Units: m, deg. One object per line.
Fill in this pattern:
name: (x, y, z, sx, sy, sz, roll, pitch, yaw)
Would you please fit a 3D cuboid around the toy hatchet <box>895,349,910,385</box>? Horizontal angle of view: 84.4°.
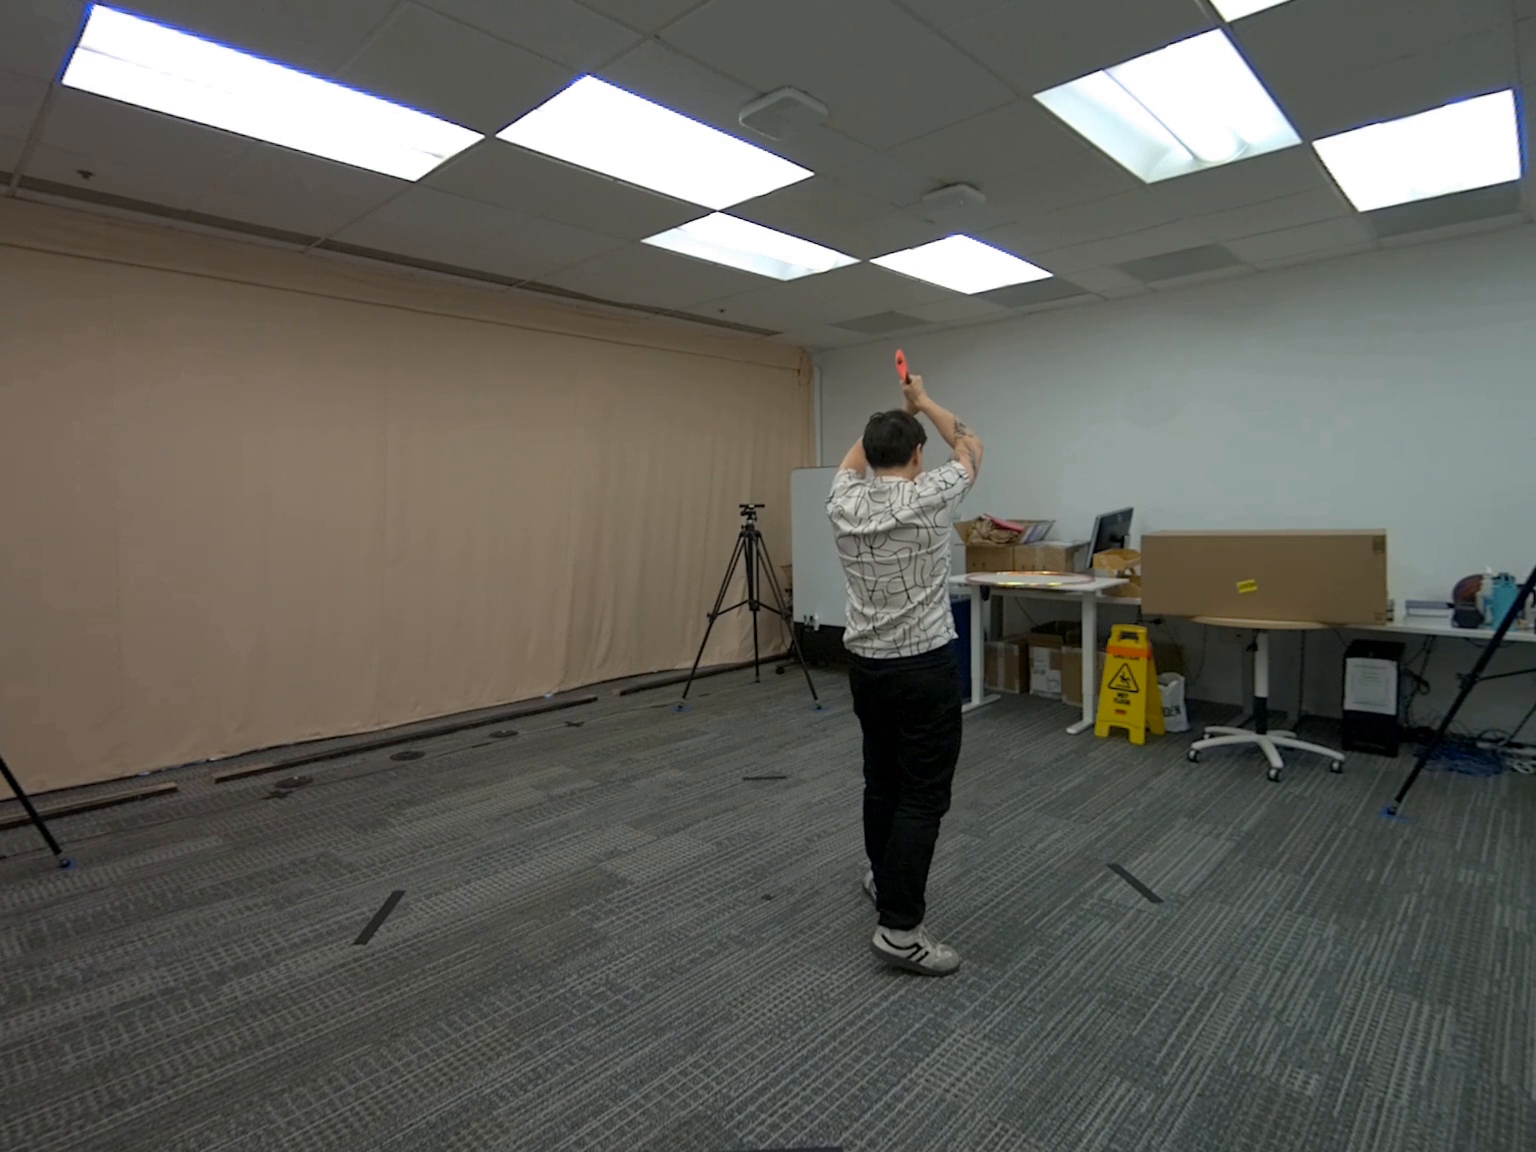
toy hatchet: (0.488, -0.679, 2.851, 0.030, 0.133, 0.262, -19, -15, 21)
